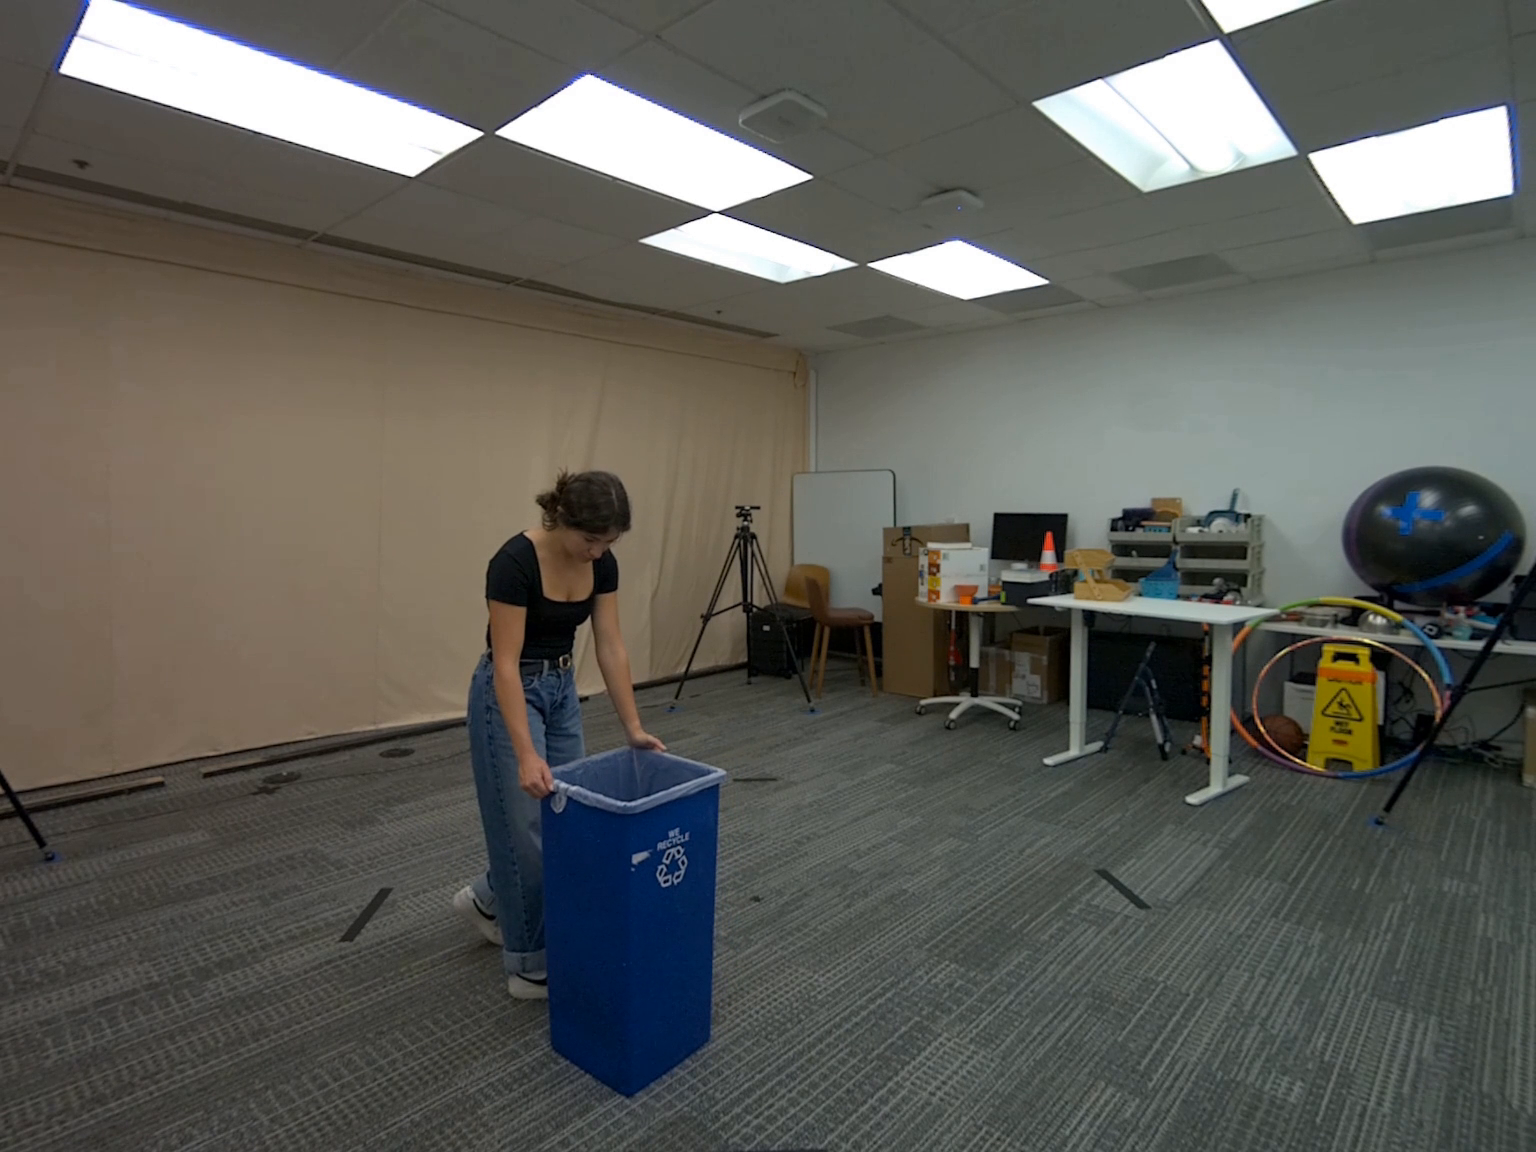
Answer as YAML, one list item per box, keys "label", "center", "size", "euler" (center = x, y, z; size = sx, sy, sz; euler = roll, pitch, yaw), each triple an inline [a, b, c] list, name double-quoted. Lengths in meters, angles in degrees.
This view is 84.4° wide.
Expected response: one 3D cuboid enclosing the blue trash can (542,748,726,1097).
- label: "blue trash can"
  center: [-0.351, 0.858, 2.169]
  size: [0.390, 0.712, 0.363]
  euler: [3, 5, 39]
